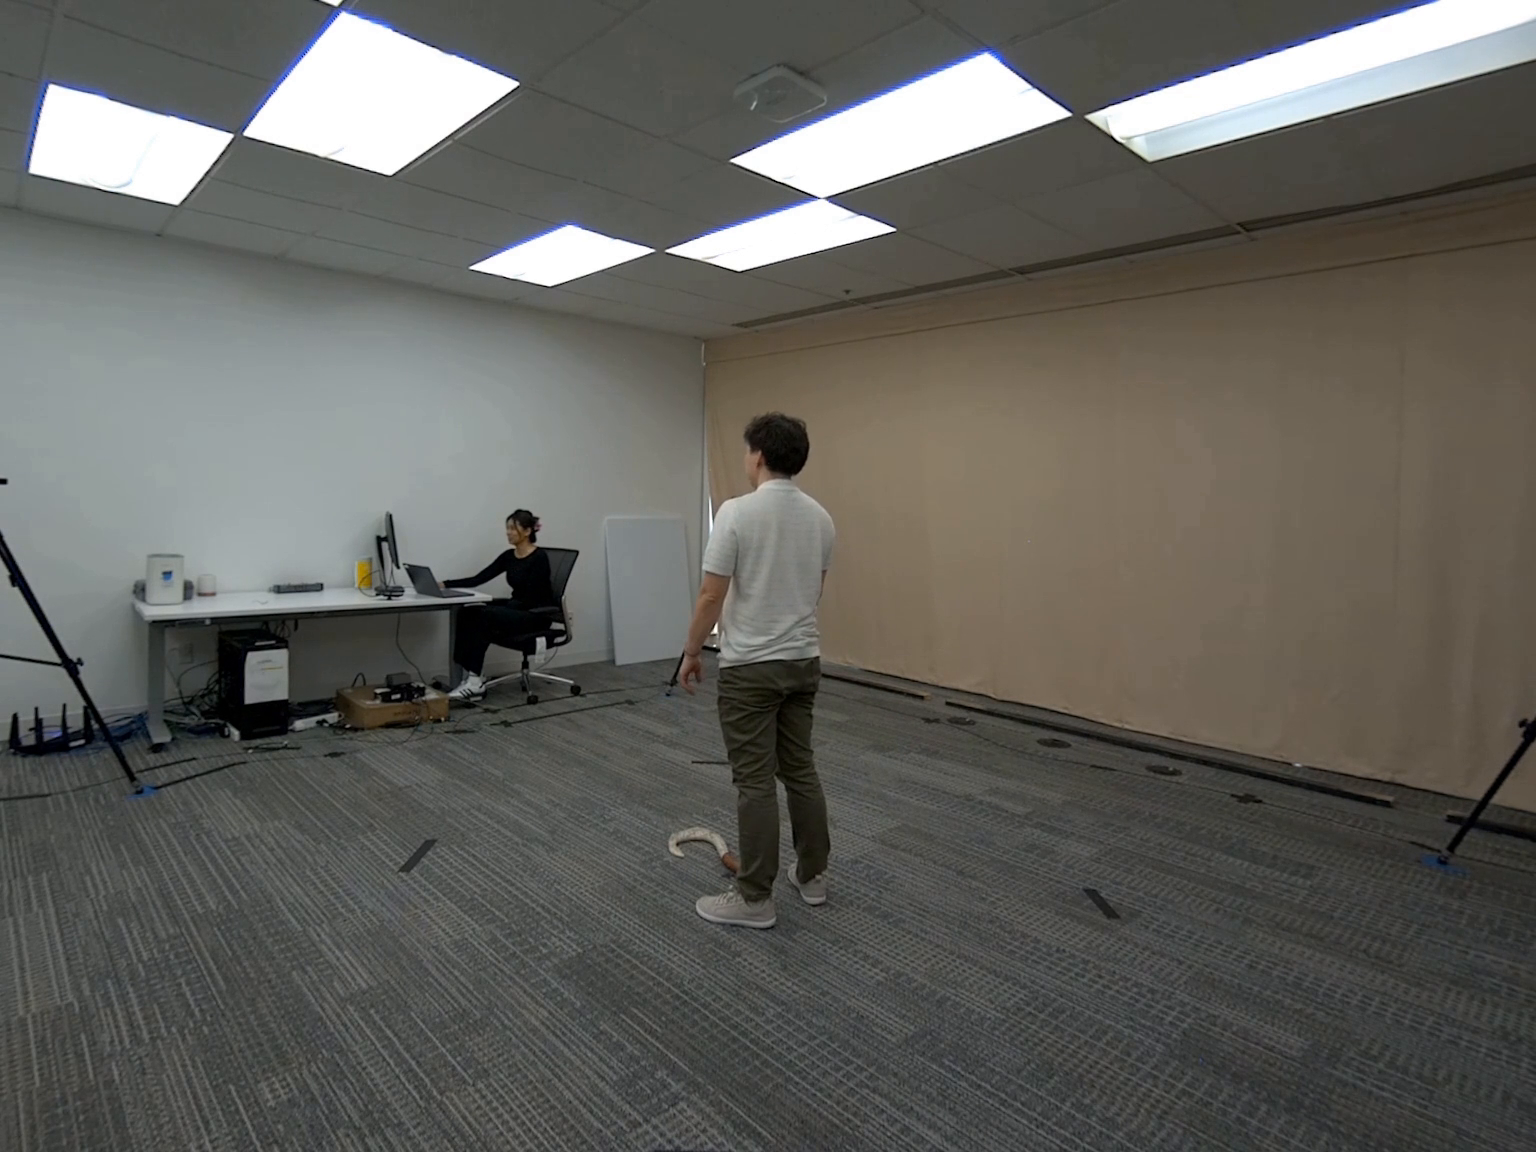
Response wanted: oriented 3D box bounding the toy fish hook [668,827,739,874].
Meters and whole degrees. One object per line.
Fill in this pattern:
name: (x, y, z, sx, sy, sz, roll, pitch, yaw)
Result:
toy fish hook: (-0.229, 1.080, 3.230, 0.221, 0.048, 0.518, -10, 10, -28)
